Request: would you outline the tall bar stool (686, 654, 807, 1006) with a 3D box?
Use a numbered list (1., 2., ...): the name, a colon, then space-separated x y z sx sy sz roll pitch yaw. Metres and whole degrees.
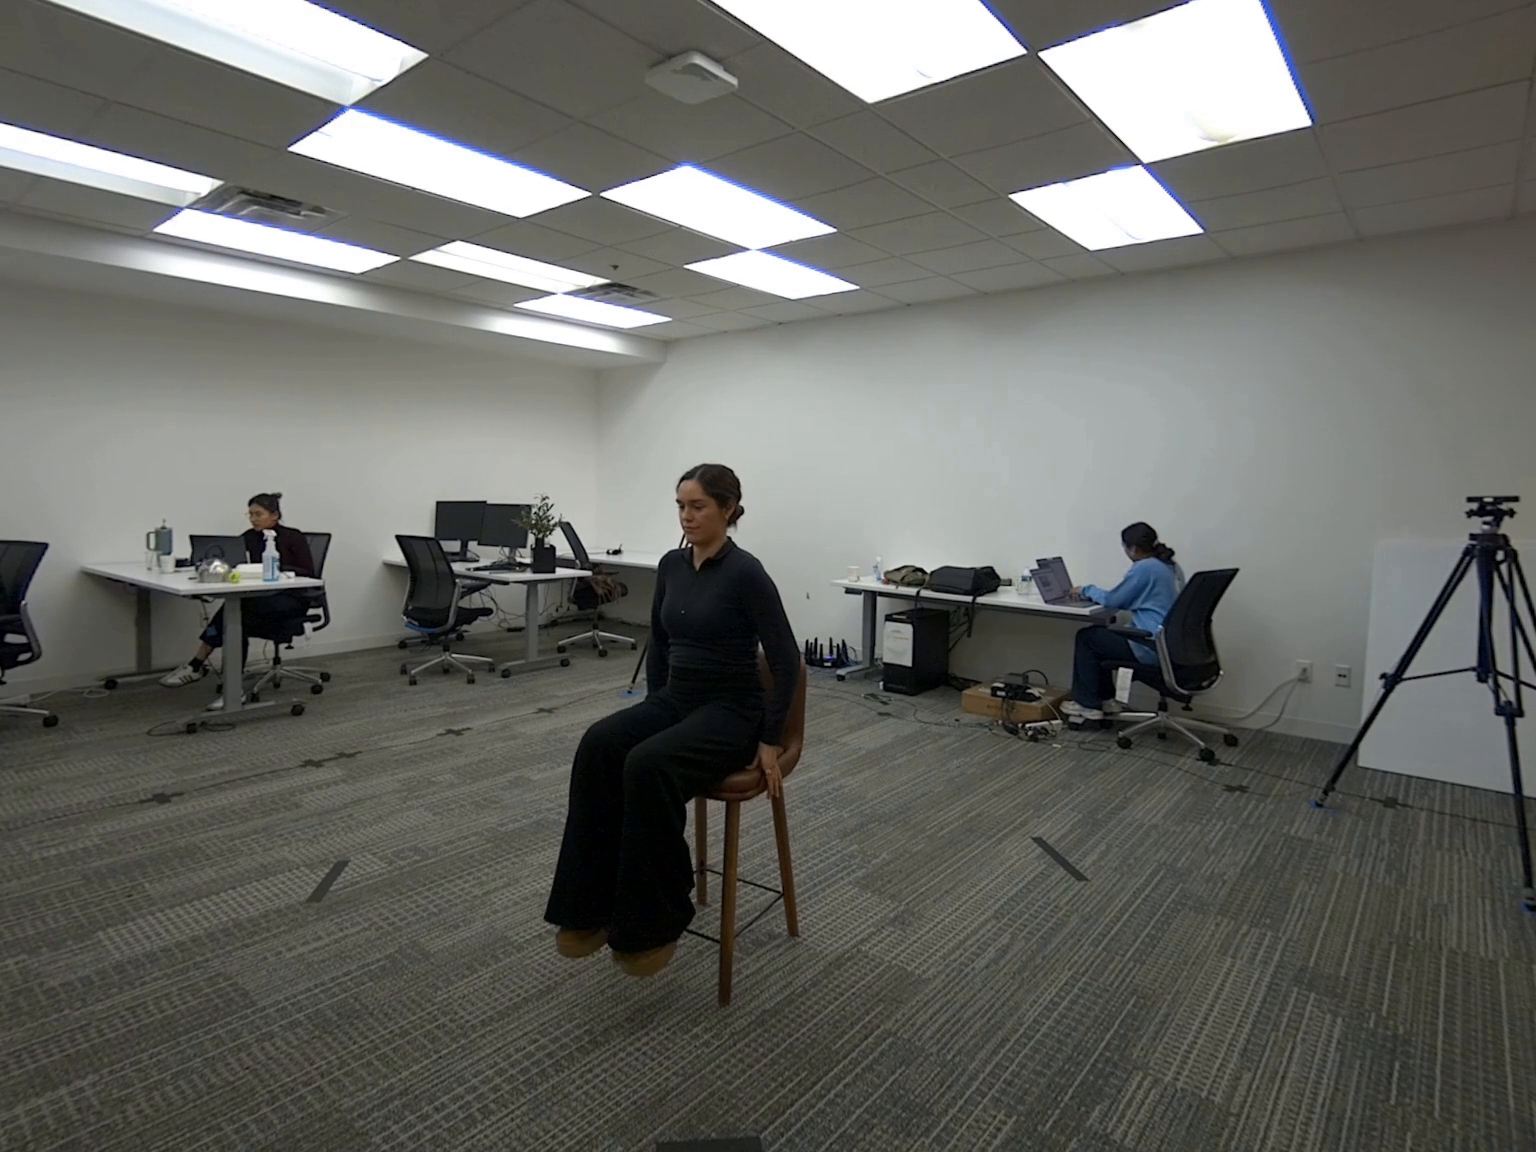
1. tall bar stool: -0.166 0.686 2.557 0.470 0.888 0.454 4 2 32
